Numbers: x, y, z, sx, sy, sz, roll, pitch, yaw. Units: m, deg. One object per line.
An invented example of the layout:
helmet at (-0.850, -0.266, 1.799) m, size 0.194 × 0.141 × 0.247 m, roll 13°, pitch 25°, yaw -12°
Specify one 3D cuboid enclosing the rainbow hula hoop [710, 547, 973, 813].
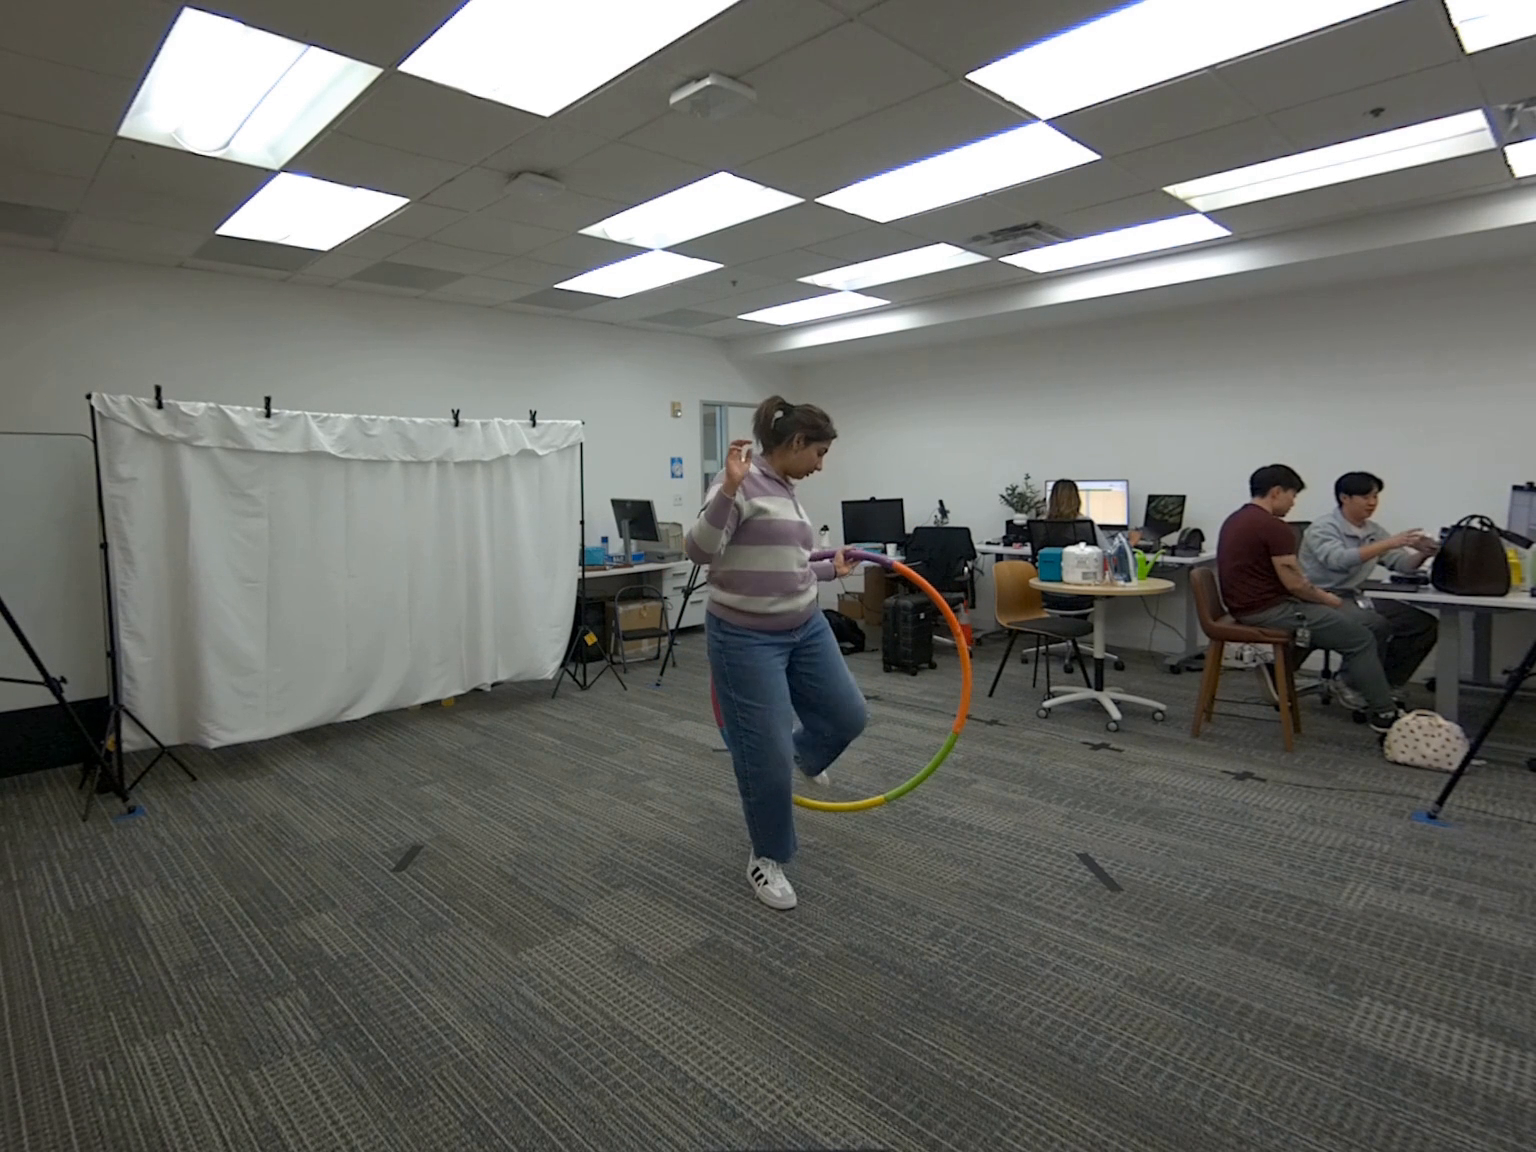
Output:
rainbow hula hoop at (0.285, 0.390, 3.224) m, size 0.987 × 0.986 × 0.051 m, roll -1°, pitch -1°, yaw 2°
